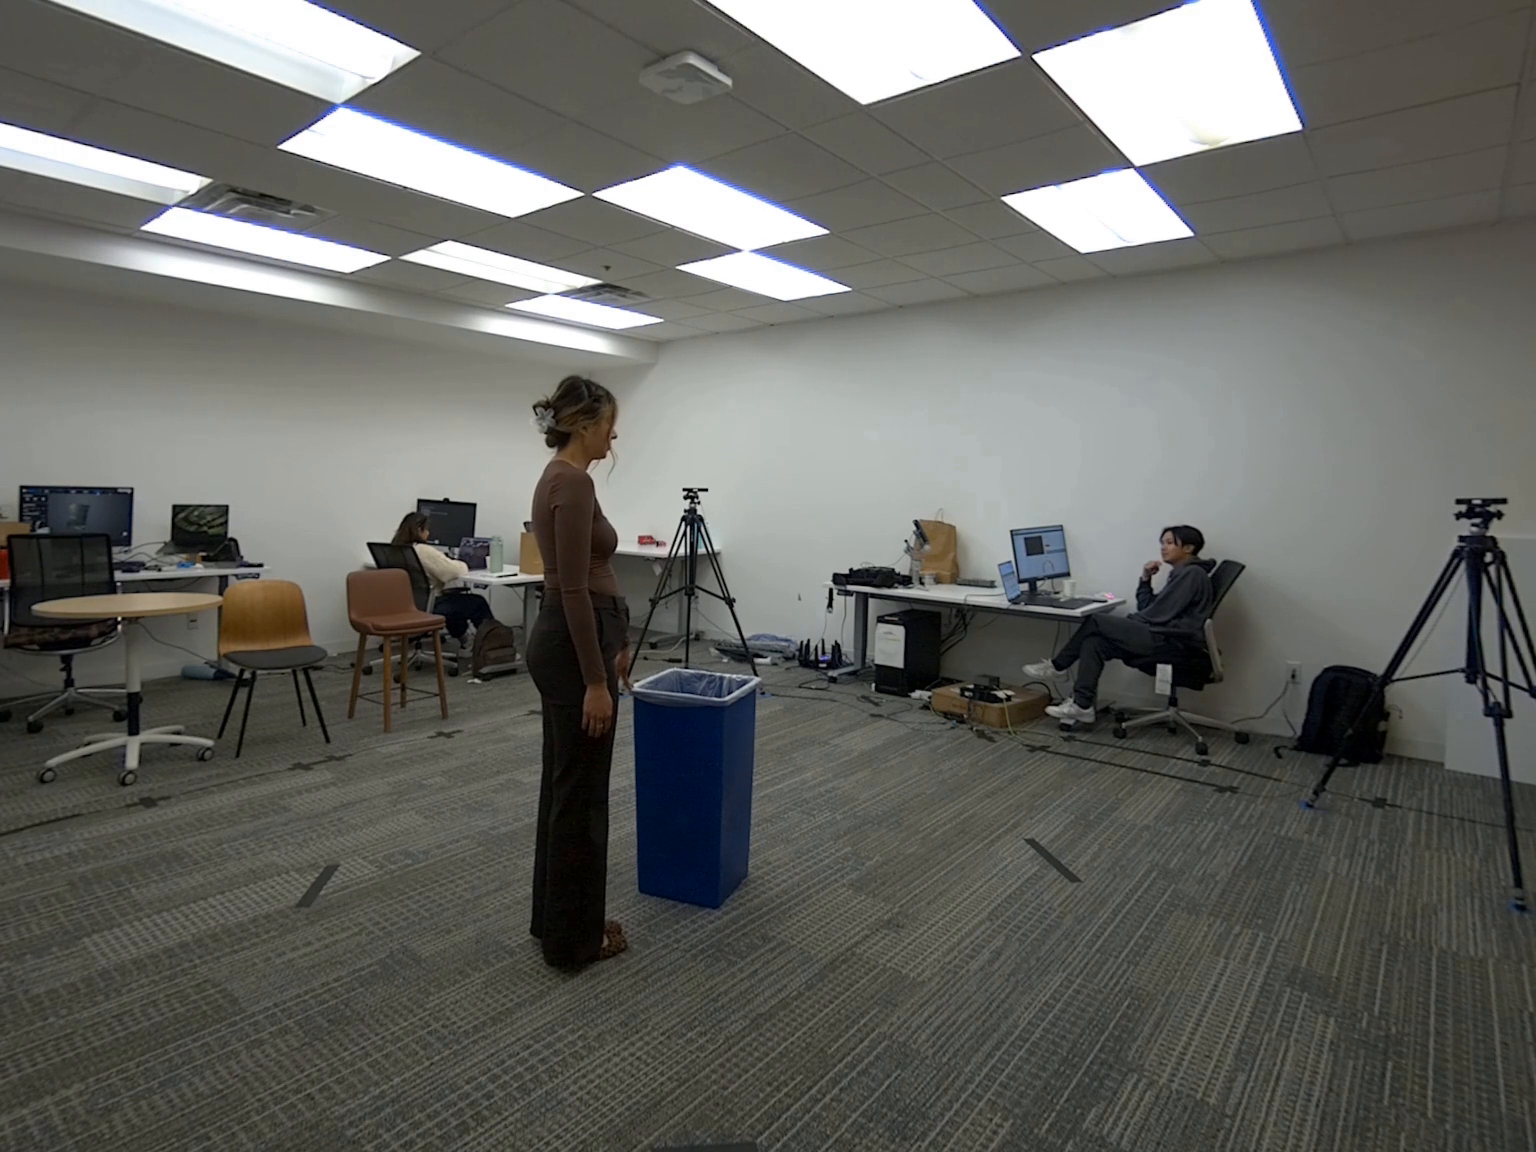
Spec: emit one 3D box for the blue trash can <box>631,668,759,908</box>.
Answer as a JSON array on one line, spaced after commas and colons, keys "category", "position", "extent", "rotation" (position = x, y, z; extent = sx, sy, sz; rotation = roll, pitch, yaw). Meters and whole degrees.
[{"category": "blue trash can", "position": [-0.261, 0.721, 2.978], "extent": [0.387, 0.712, 0.366], "rotation": [2, 3, 21]}]
